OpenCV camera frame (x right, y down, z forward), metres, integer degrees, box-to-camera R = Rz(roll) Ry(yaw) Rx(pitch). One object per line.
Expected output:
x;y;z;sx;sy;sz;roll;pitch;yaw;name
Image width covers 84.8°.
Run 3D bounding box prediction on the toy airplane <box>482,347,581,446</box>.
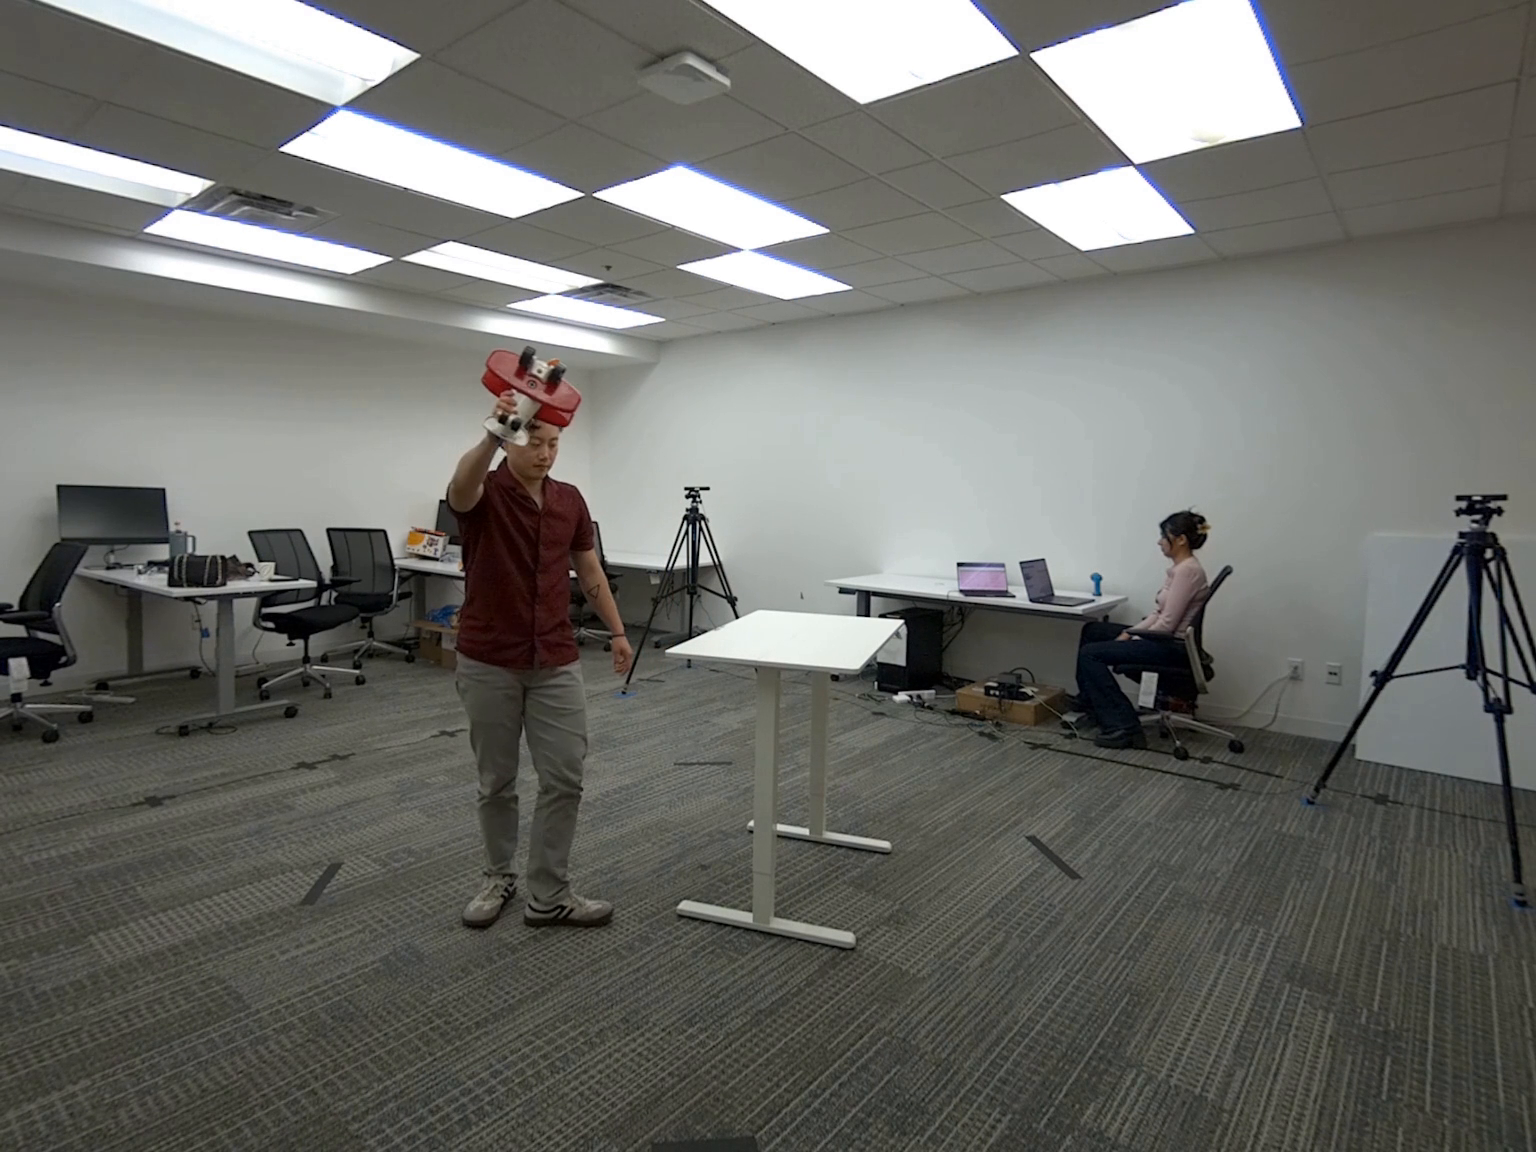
-0.647;-0.473;2.189;0.258;0.251;0.158;-36;2;-21;toy airplane
